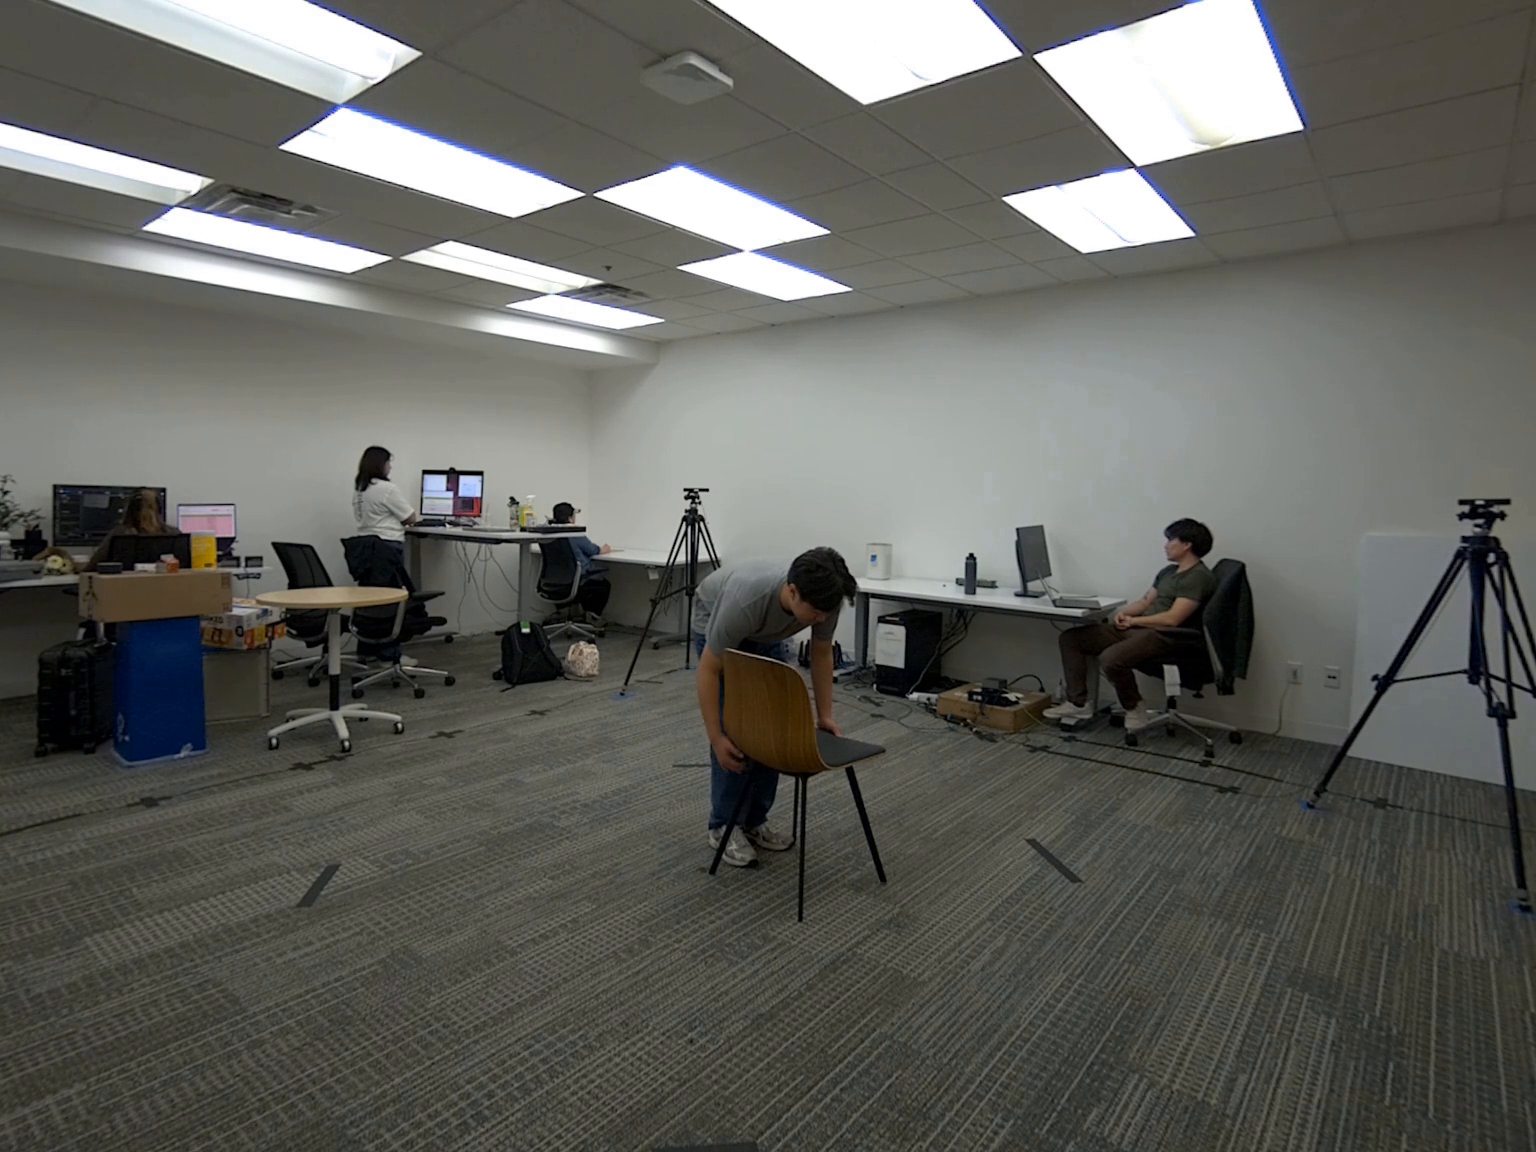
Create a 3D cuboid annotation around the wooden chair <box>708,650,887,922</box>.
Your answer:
[{"bbox_3d":[0.112,0.656,3.028,0.508,0.873,0.494,-7,8,-43],"label":"wooden chair"}]
